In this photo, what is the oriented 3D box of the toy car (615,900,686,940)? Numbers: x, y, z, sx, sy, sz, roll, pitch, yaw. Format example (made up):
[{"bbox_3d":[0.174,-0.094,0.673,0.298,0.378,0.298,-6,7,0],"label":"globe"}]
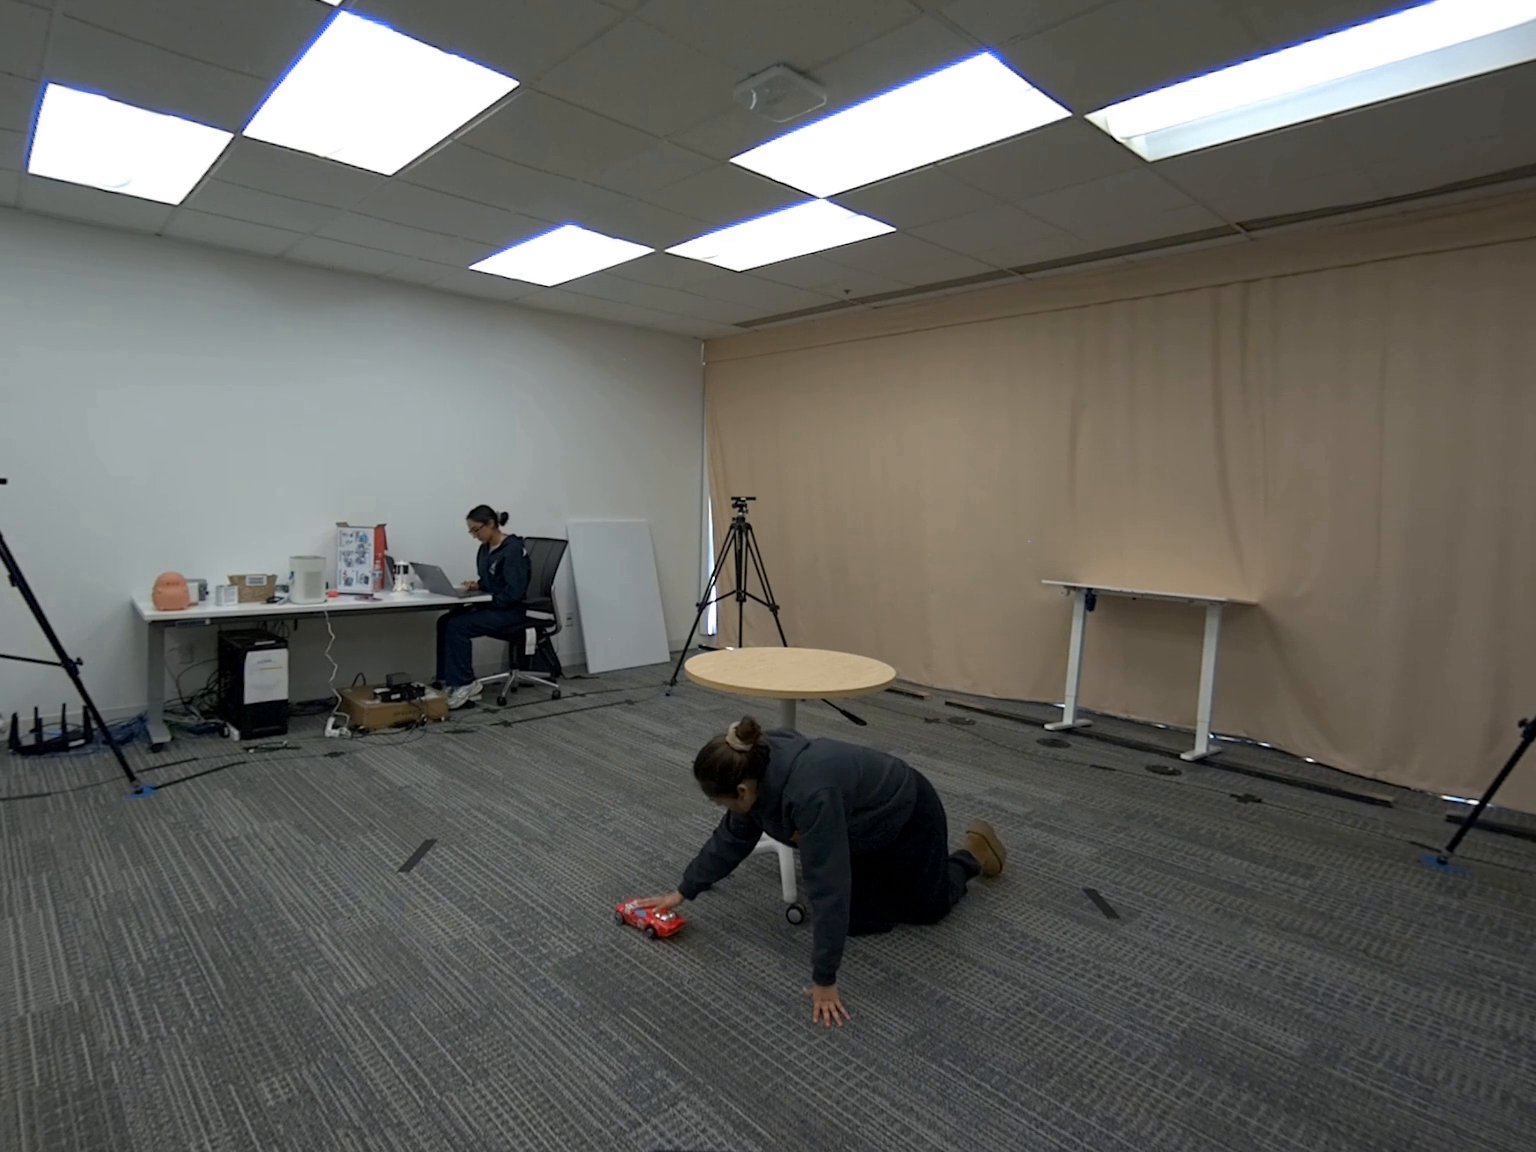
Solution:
[{"bbox_3d":[-0.371,1.098,2.729,0.259,0.083,0.127,-9,-4,37],"label":"toy car"}]
